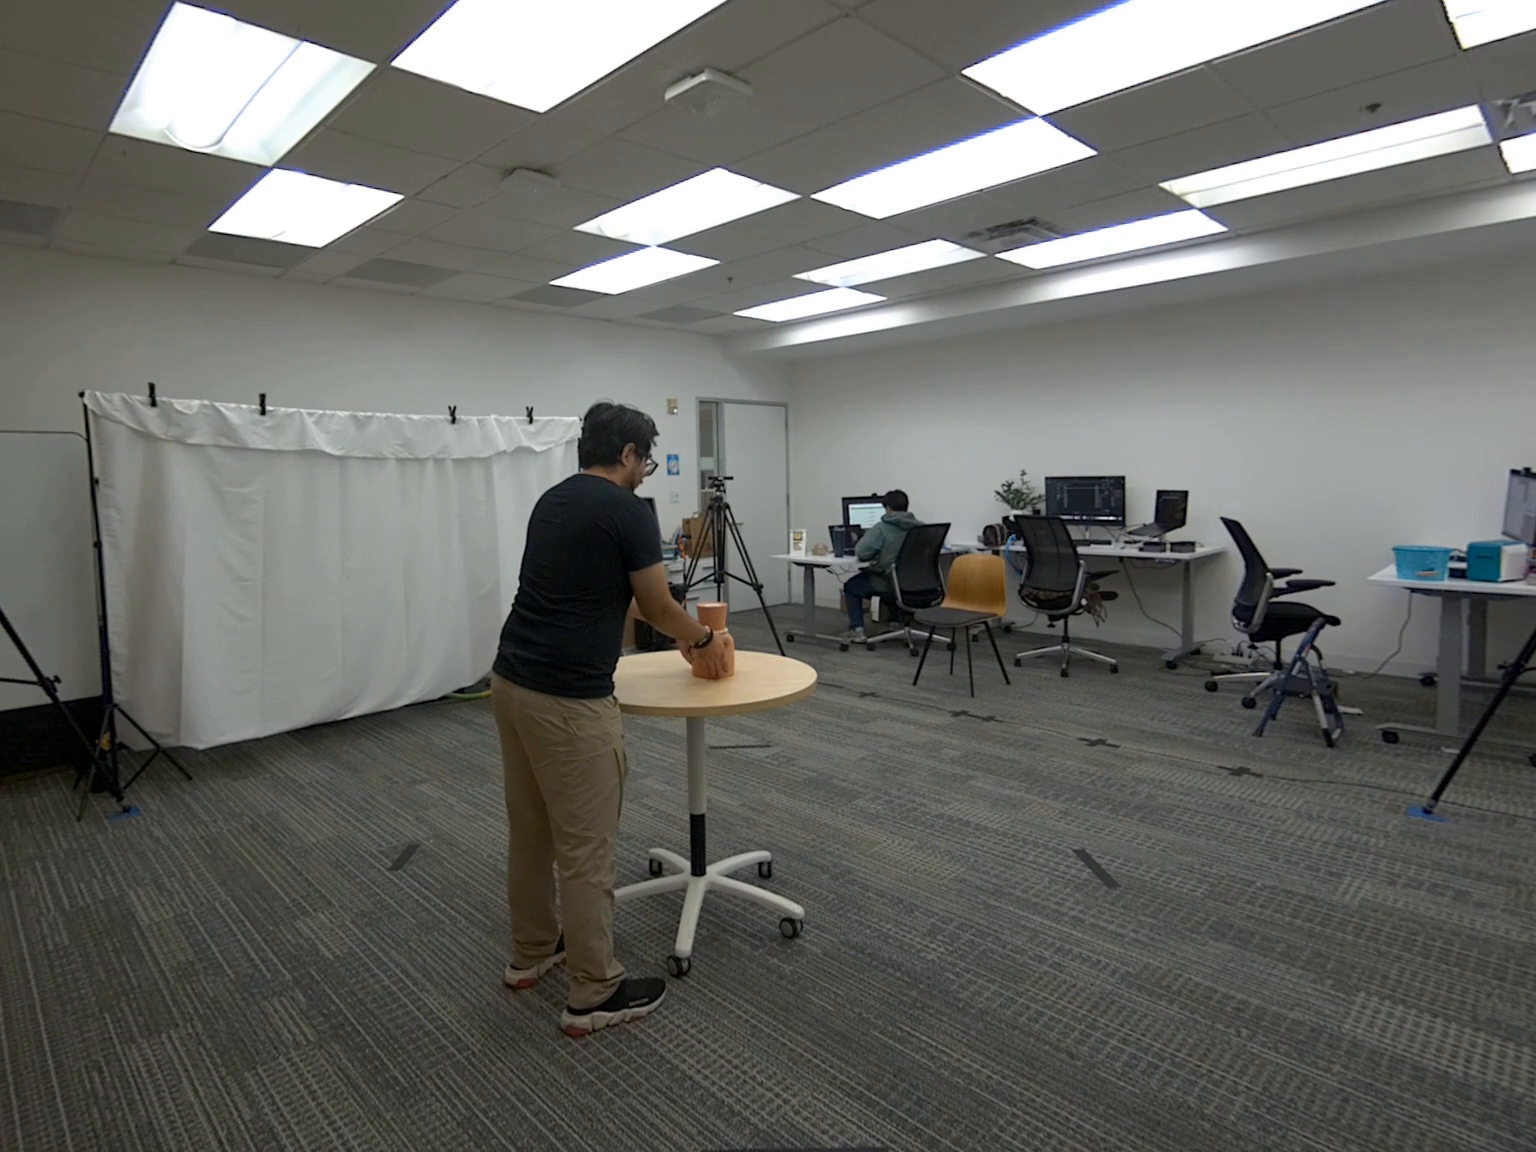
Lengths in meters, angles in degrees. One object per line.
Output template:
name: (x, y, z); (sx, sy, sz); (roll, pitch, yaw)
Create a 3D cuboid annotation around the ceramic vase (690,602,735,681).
ceramic vase: (-0.171, 0.200, 2.665); (0.163, 0.219, 0.132); (1, 5, 28)
